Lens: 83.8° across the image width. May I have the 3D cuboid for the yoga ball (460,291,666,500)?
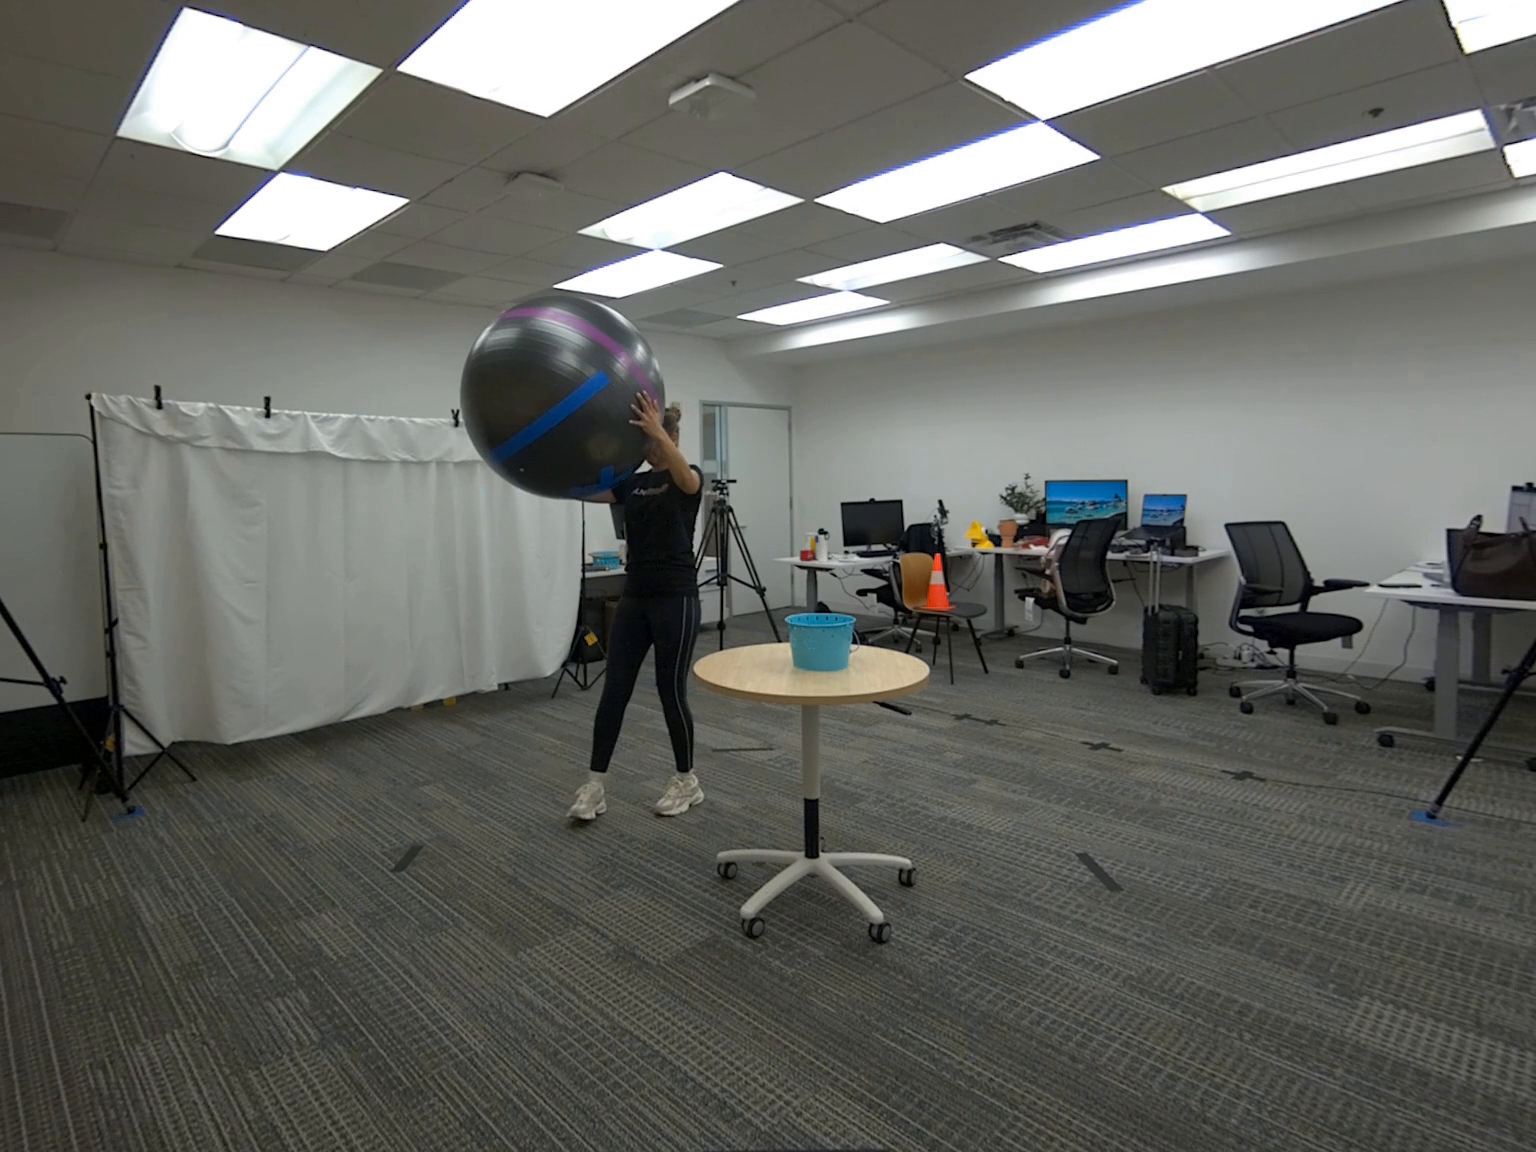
[{"bbox_3d":[-0.772,-0.657,3.227,0.757,0.755,0.762,-1,5,-2],"label":"yoga ball"}]
